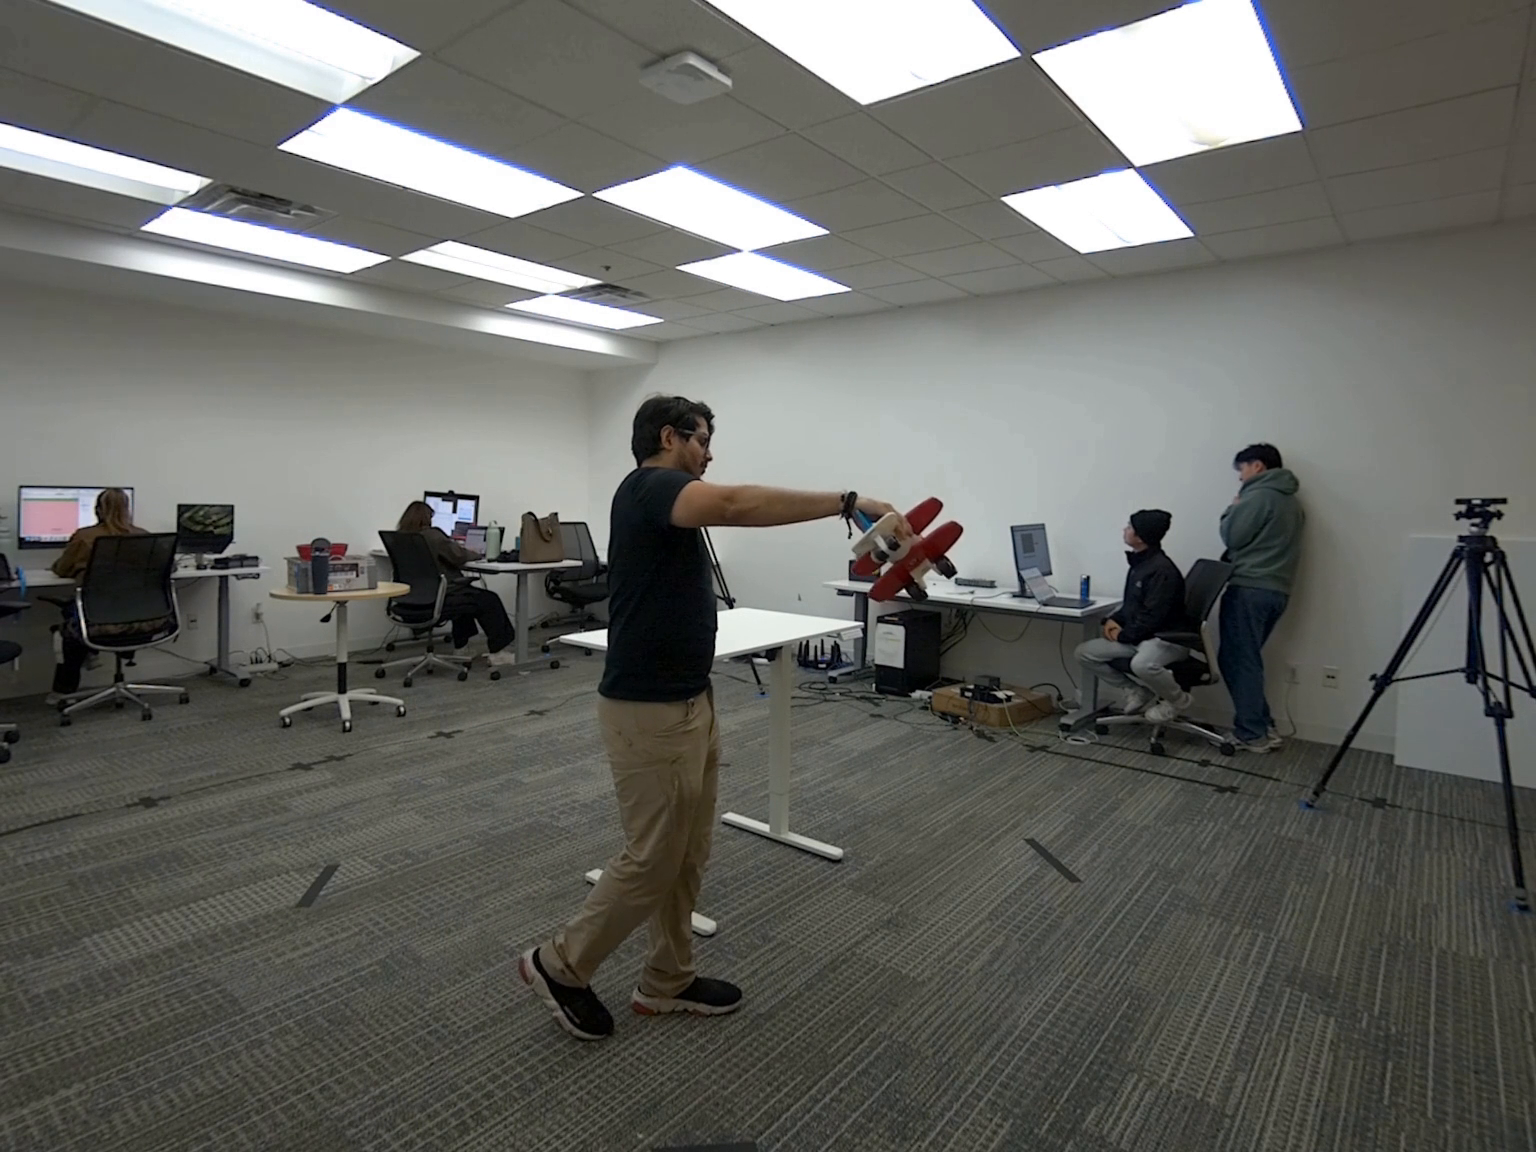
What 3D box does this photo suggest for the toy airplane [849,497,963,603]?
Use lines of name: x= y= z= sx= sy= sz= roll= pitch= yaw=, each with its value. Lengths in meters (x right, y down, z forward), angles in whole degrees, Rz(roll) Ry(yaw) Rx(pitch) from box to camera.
toy airplane: x=0.295 y=-0.070 z=1.869 sx=0.251 sy=0.249 sz=0.162 roll=-23 pitch=43 yaw=-1
